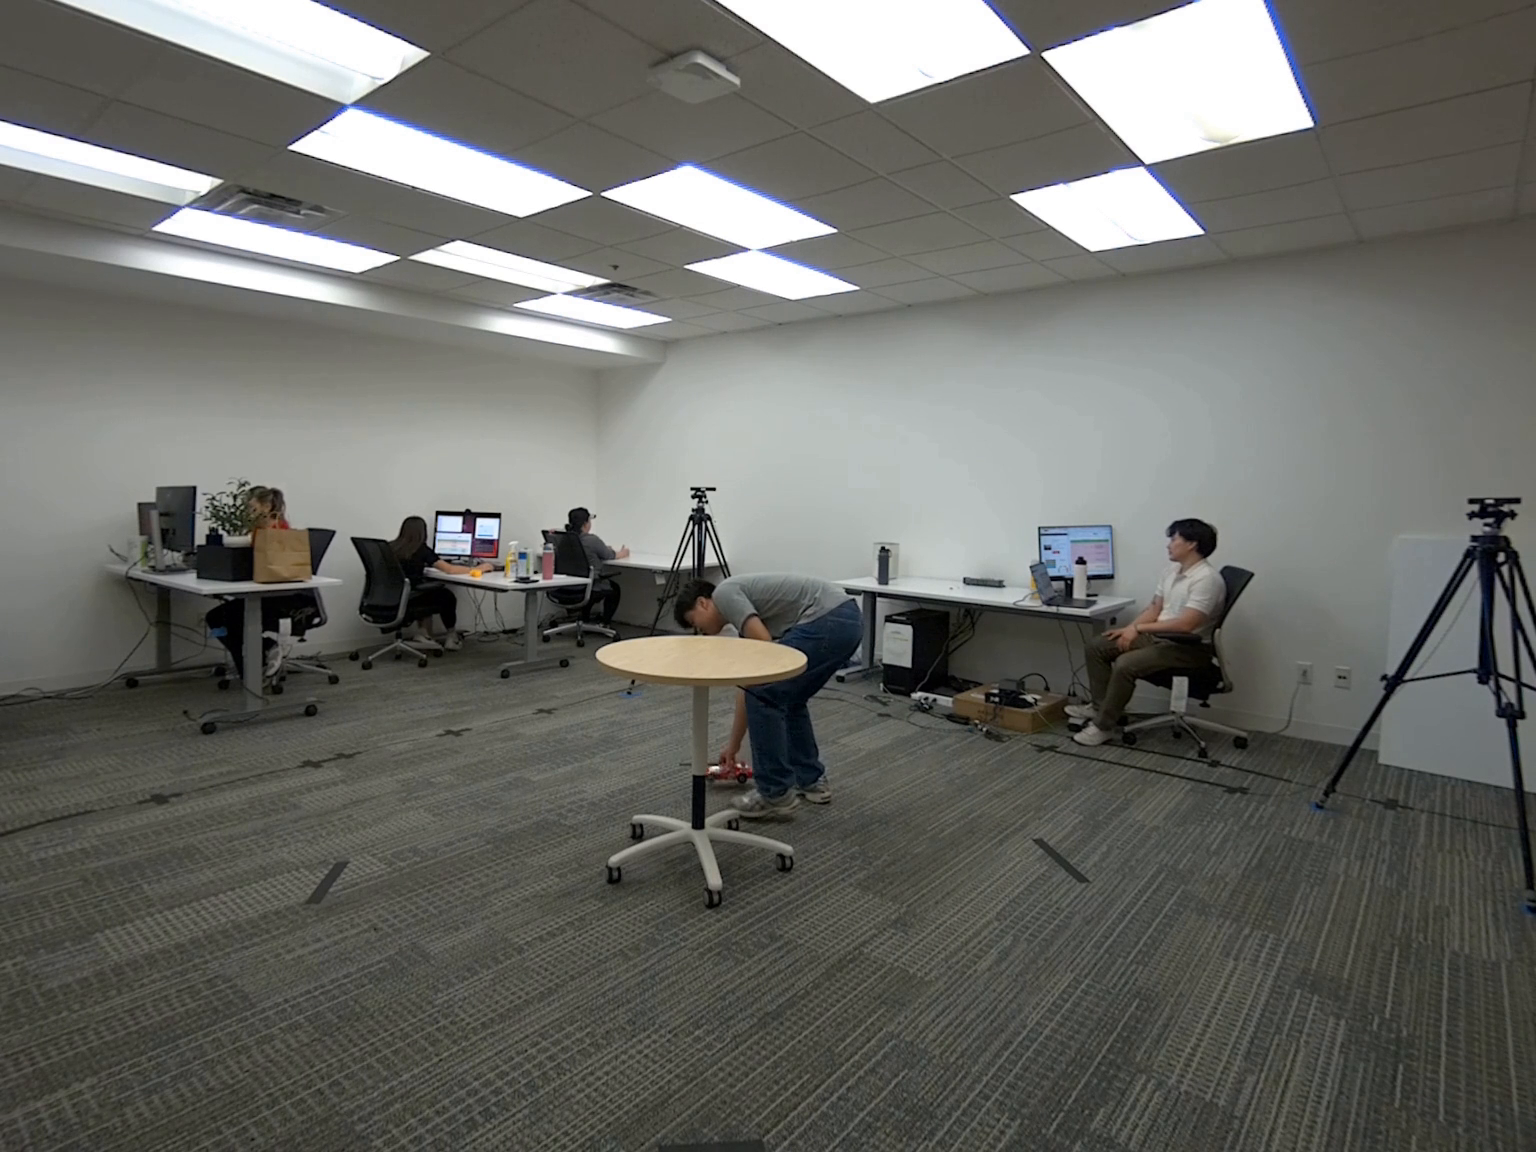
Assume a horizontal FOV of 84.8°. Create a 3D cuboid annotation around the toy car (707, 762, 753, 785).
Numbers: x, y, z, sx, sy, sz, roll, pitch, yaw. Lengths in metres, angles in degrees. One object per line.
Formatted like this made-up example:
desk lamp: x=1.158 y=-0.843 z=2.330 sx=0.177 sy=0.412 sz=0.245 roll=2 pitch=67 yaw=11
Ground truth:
toy car: x=-0.186 y=0.929 z=3.991 sx=0.253 sy=0.083 sz=0.131 roll=-8 pitch=3 yaw=-5
